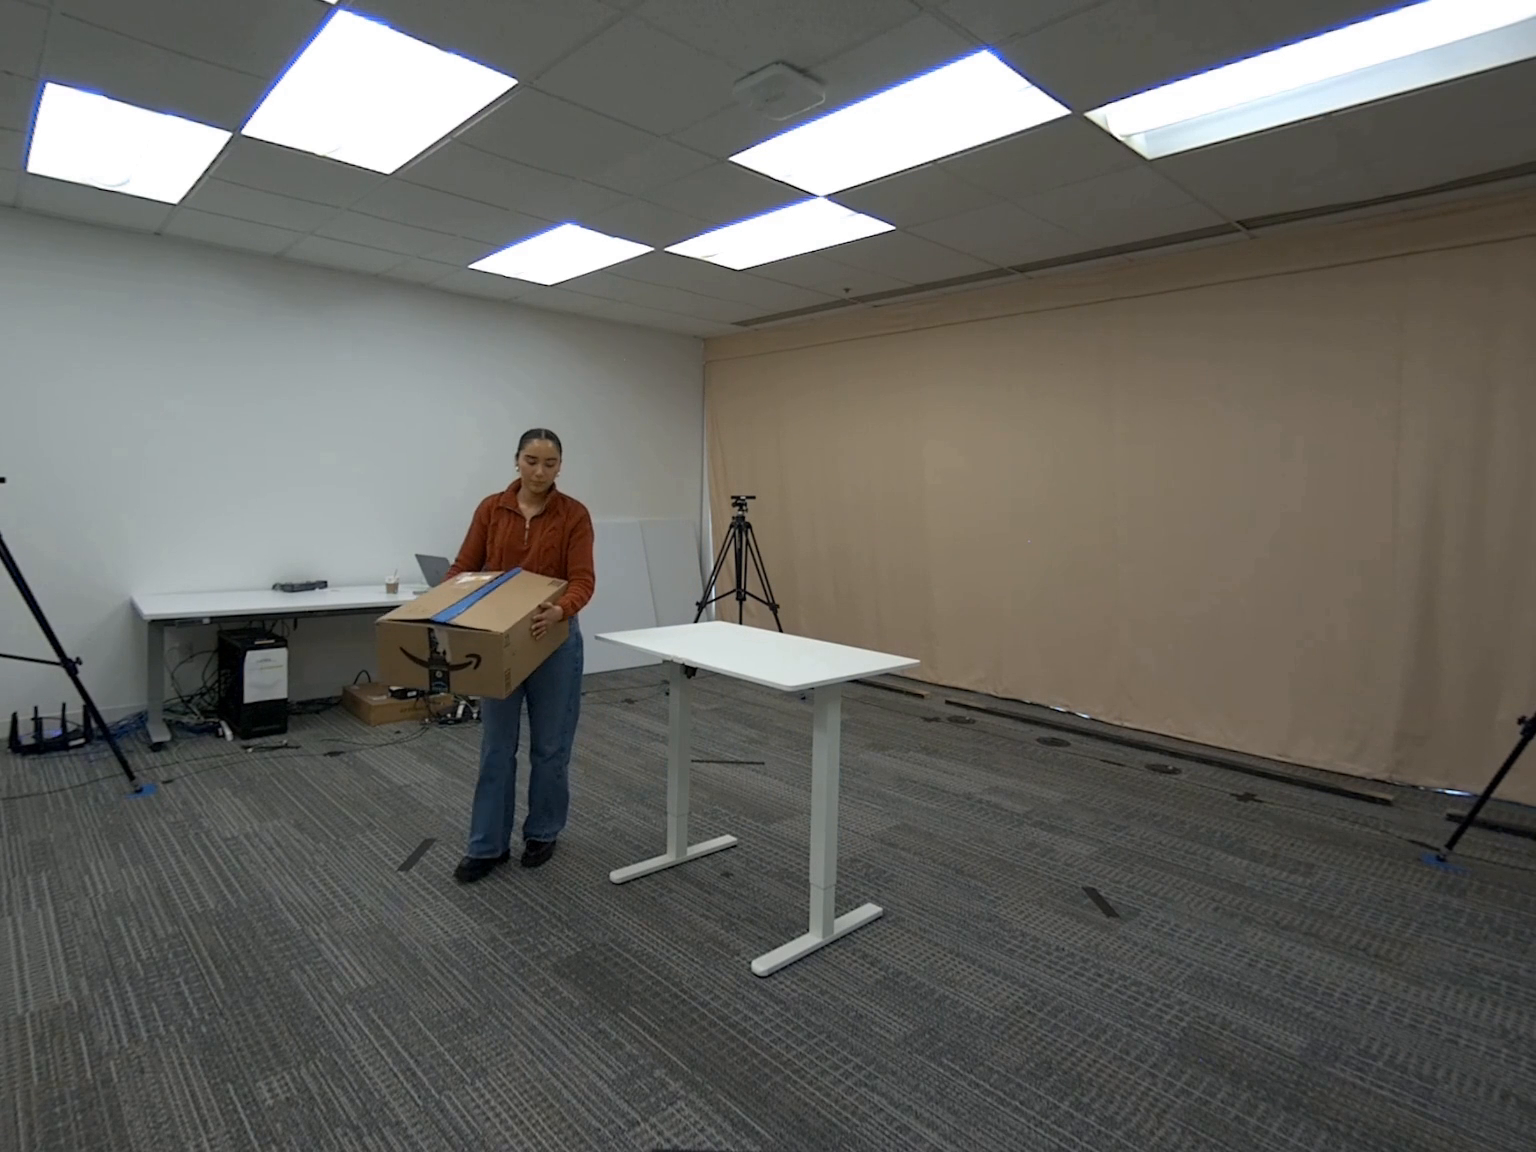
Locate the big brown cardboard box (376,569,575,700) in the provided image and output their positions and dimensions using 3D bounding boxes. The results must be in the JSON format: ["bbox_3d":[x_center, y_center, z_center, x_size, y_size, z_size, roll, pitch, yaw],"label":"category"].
[{"bbox_3d":[-0.970,0.179,2.805,0.420,0.230,0.592,3,16,6],"label":"big brown cardboard box"}]
